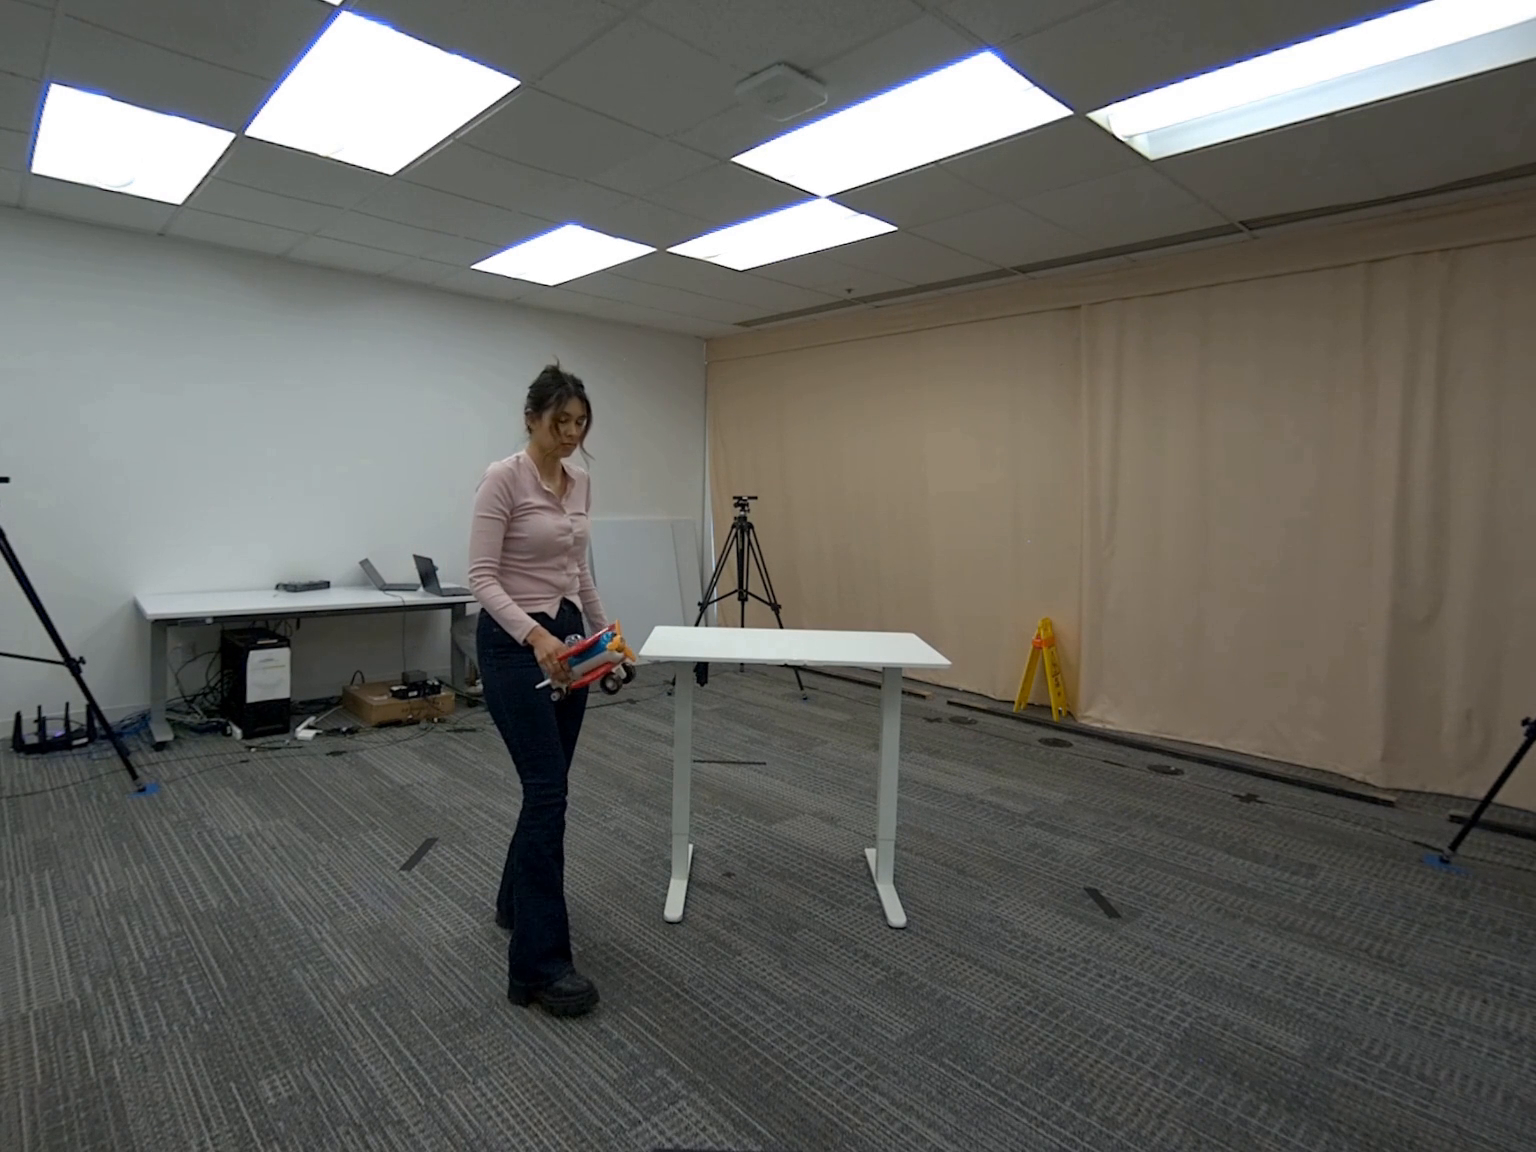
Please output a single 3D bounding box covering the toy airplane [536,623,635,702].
[{"bbox_3d":[-0.474,0.230,2.160,0.258,0.155,0.254,-15,6,-9],"label":"toy airplane"}]
